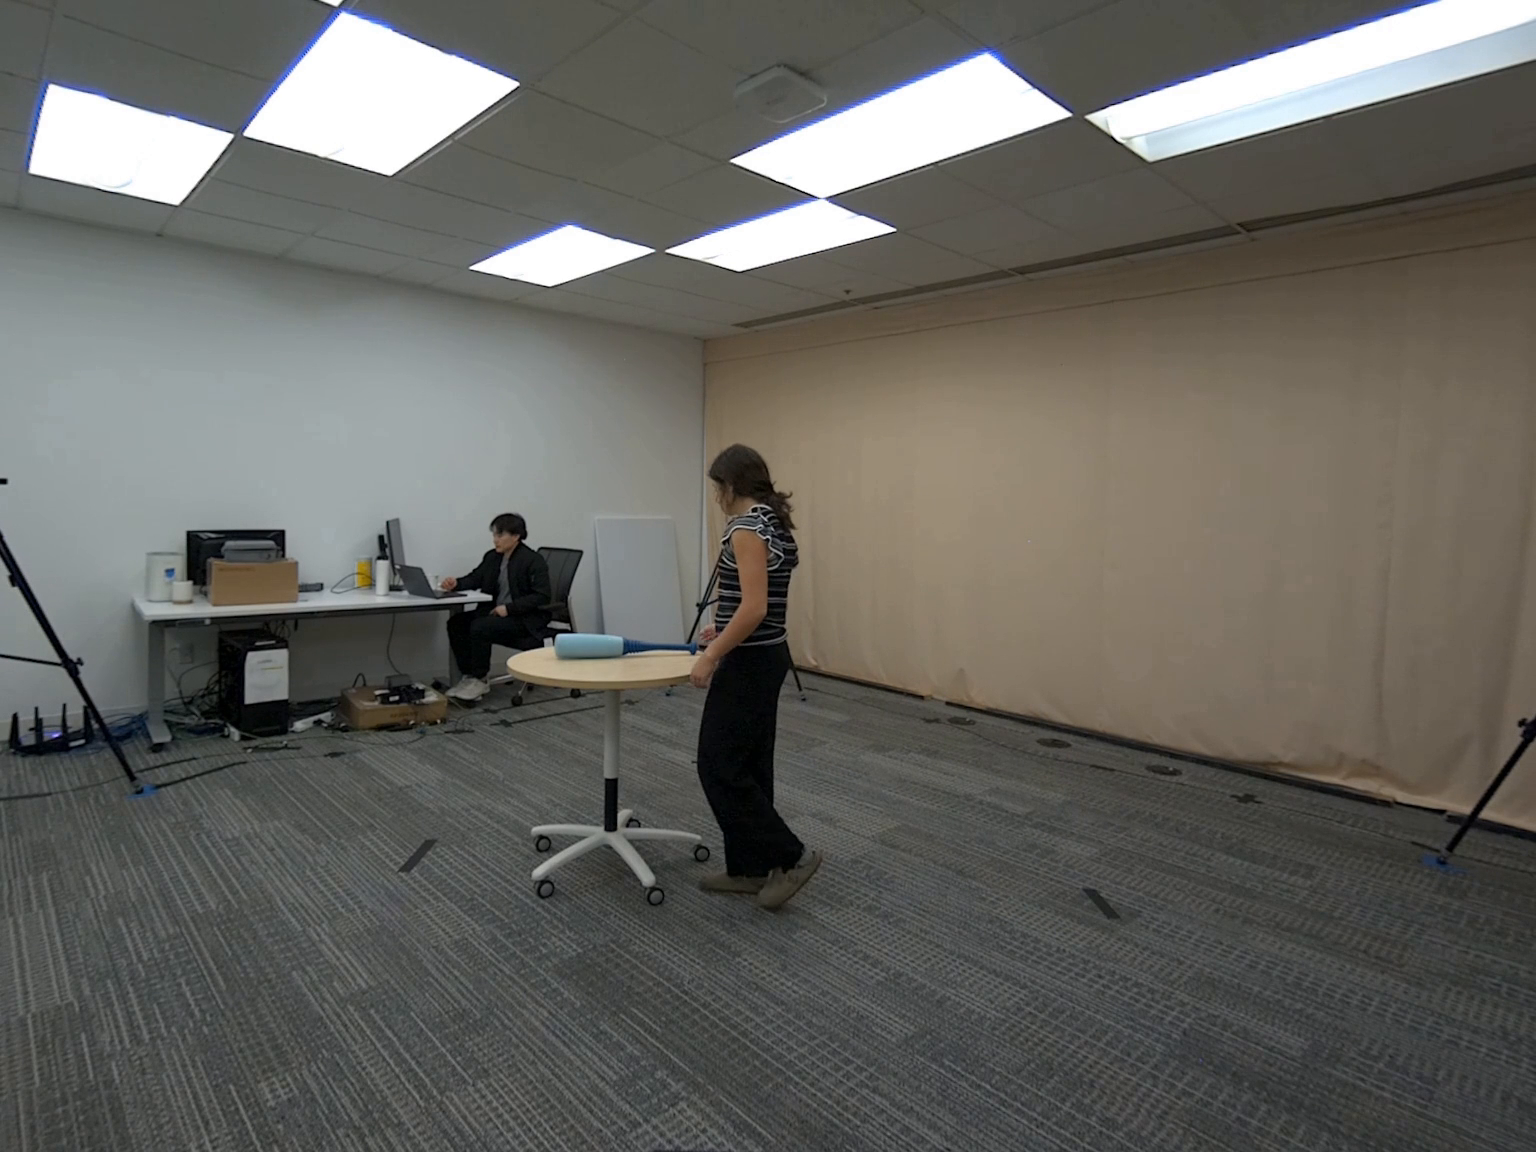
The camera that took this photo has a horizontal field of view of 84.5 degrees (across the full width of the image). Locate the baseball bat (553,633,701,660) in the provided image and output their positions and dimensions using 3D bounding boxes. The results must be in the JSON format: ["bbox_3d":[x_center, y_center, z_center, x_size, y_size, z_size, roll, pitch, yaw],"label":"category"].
[{"bbox_3d":[-0.541,0.270,3.198,0.535,0.089,0.090,2,4,-19],"label":"baseball bat"}]
